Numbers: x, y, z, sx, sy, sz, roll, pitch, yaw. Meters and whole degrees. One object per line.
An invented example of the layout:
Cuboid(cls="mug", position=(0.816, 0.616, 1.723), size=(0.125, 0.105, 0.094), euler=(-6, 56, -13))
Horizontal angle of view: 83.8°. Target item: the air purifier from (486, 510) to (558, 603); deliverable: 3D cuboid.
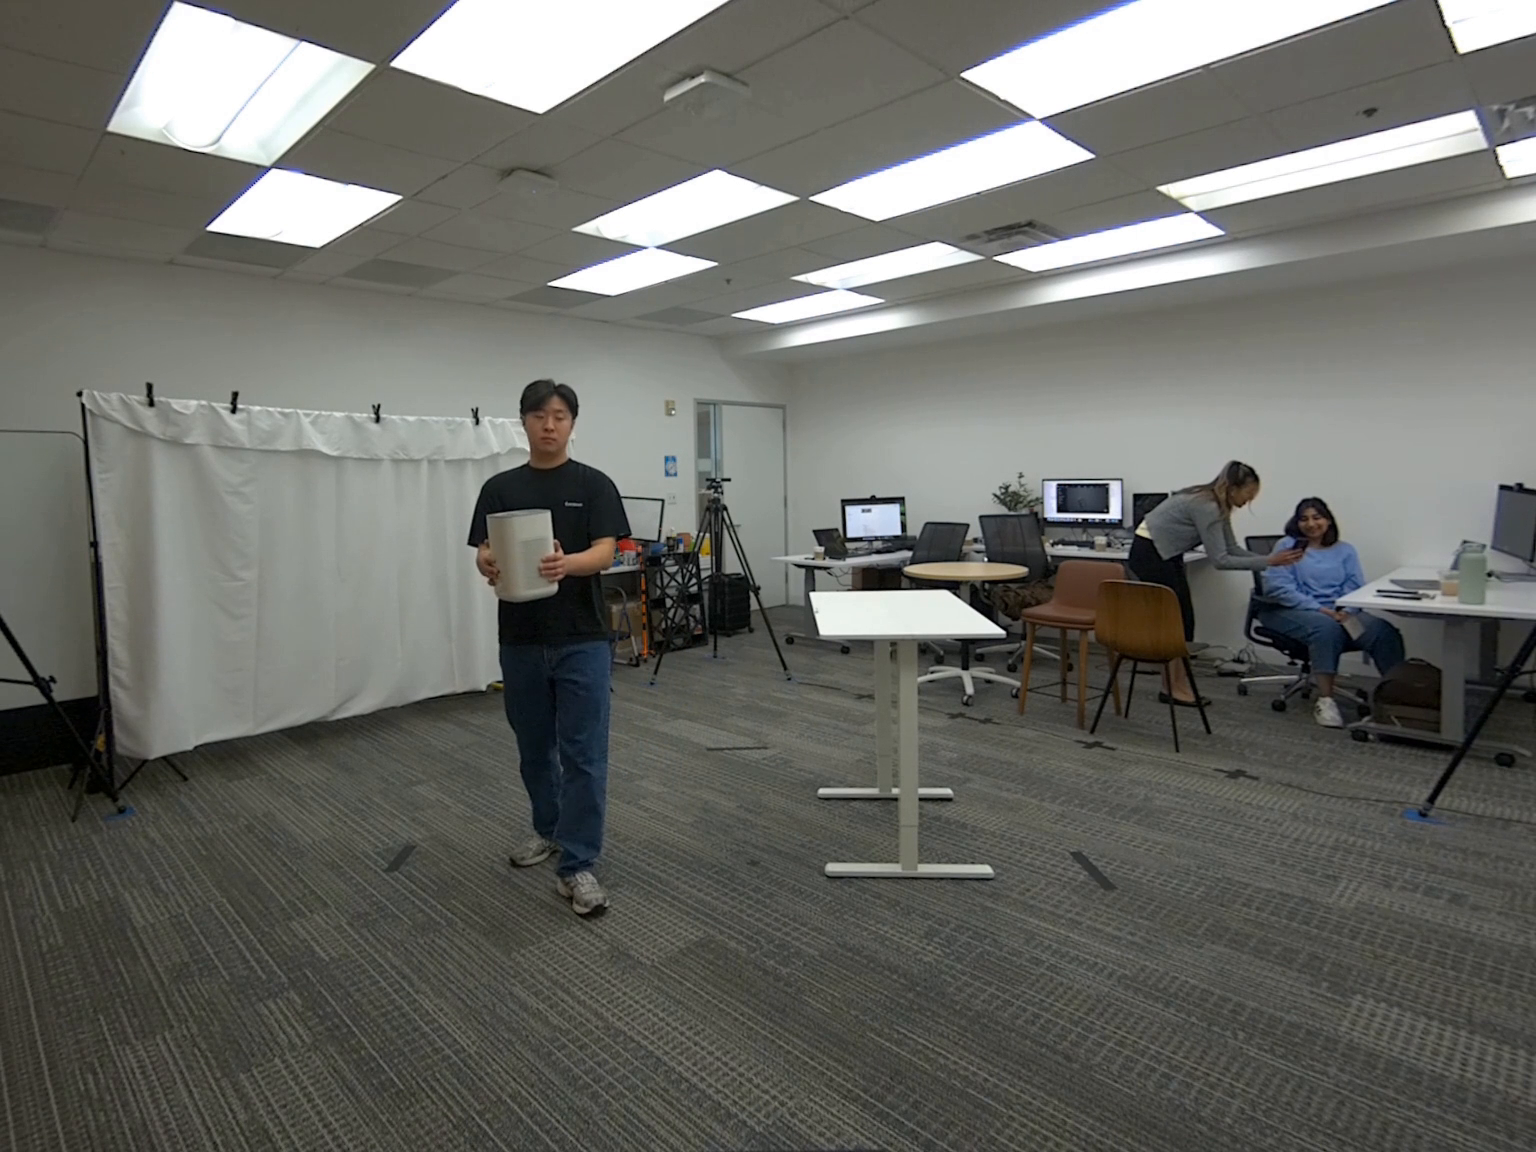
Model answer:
Cuboid(cls="air purifier", position=(-0.768, -0.064, 2.630), size=(0.167, 0.263, 0.176), euler=(-11, 10, -42))
